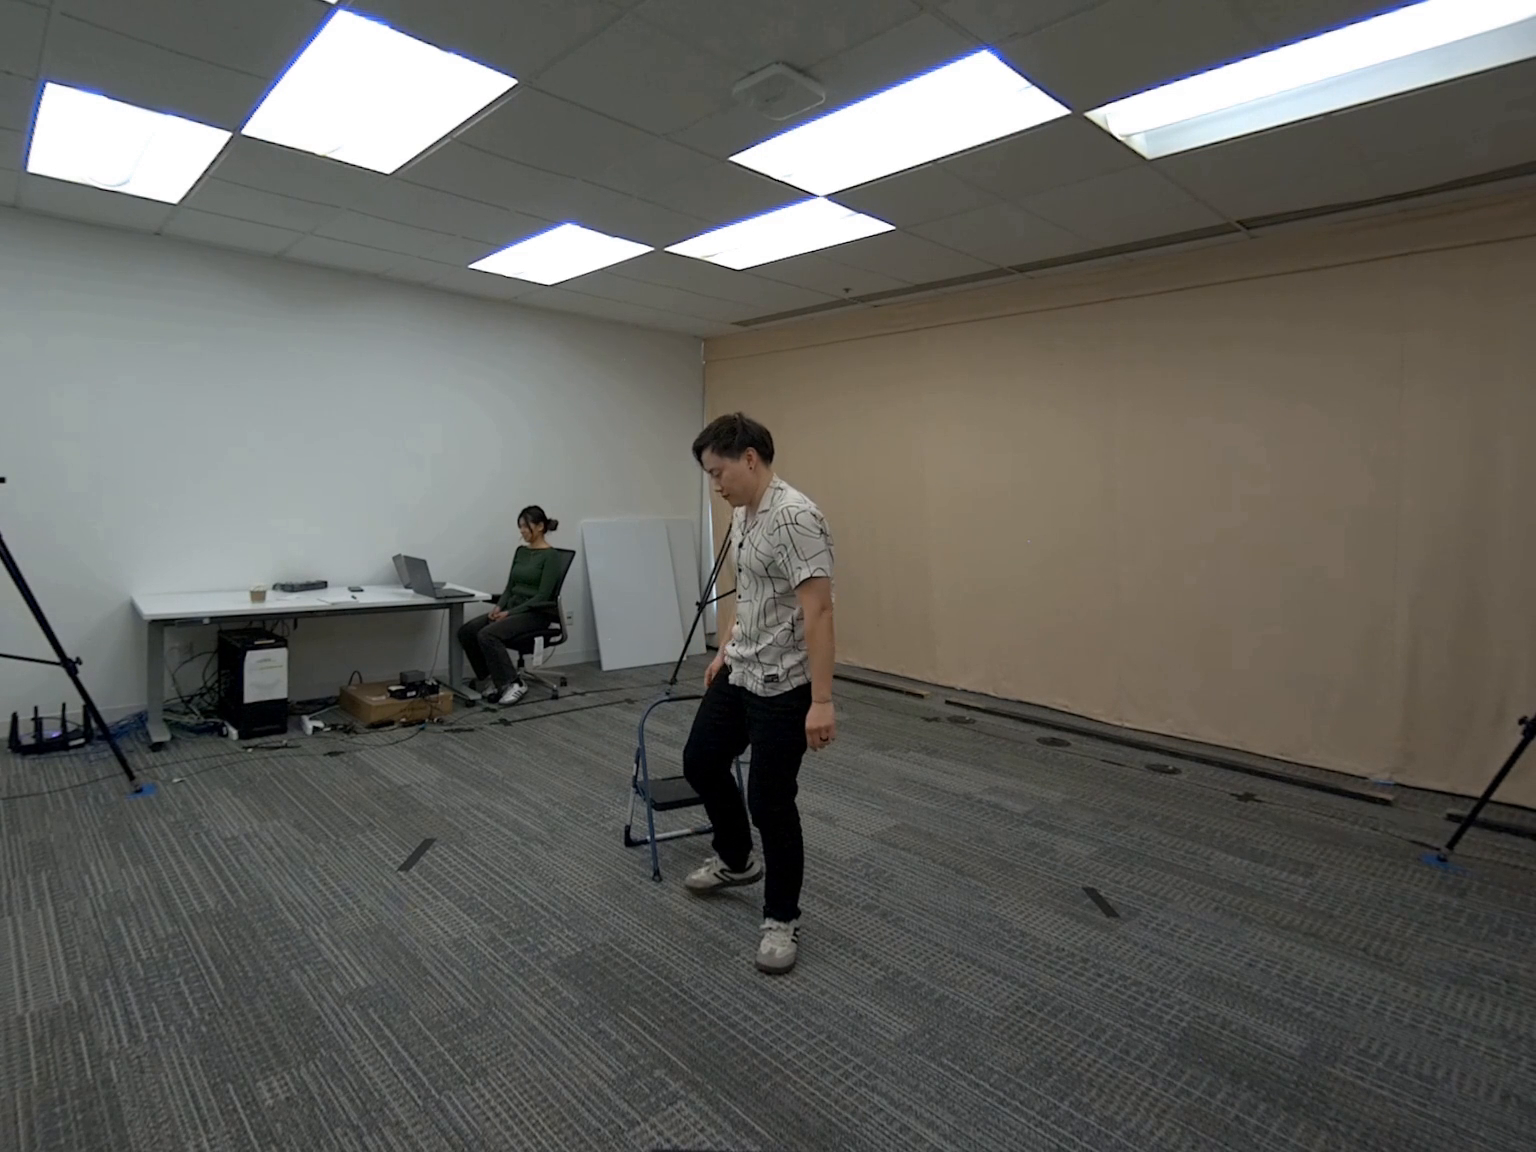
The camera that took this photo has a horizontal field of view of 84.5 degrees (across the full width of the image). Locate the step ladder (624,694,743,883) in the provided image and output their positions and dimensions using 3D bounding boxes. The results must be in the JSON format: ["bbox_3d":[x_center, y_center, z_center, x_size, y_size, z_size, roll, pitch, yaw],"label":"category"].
[{"bbox_3d":[-0.307,0.781,3.265,0.422,0.605,0.357,-1,4,-30],"label":"step ladder"}]
